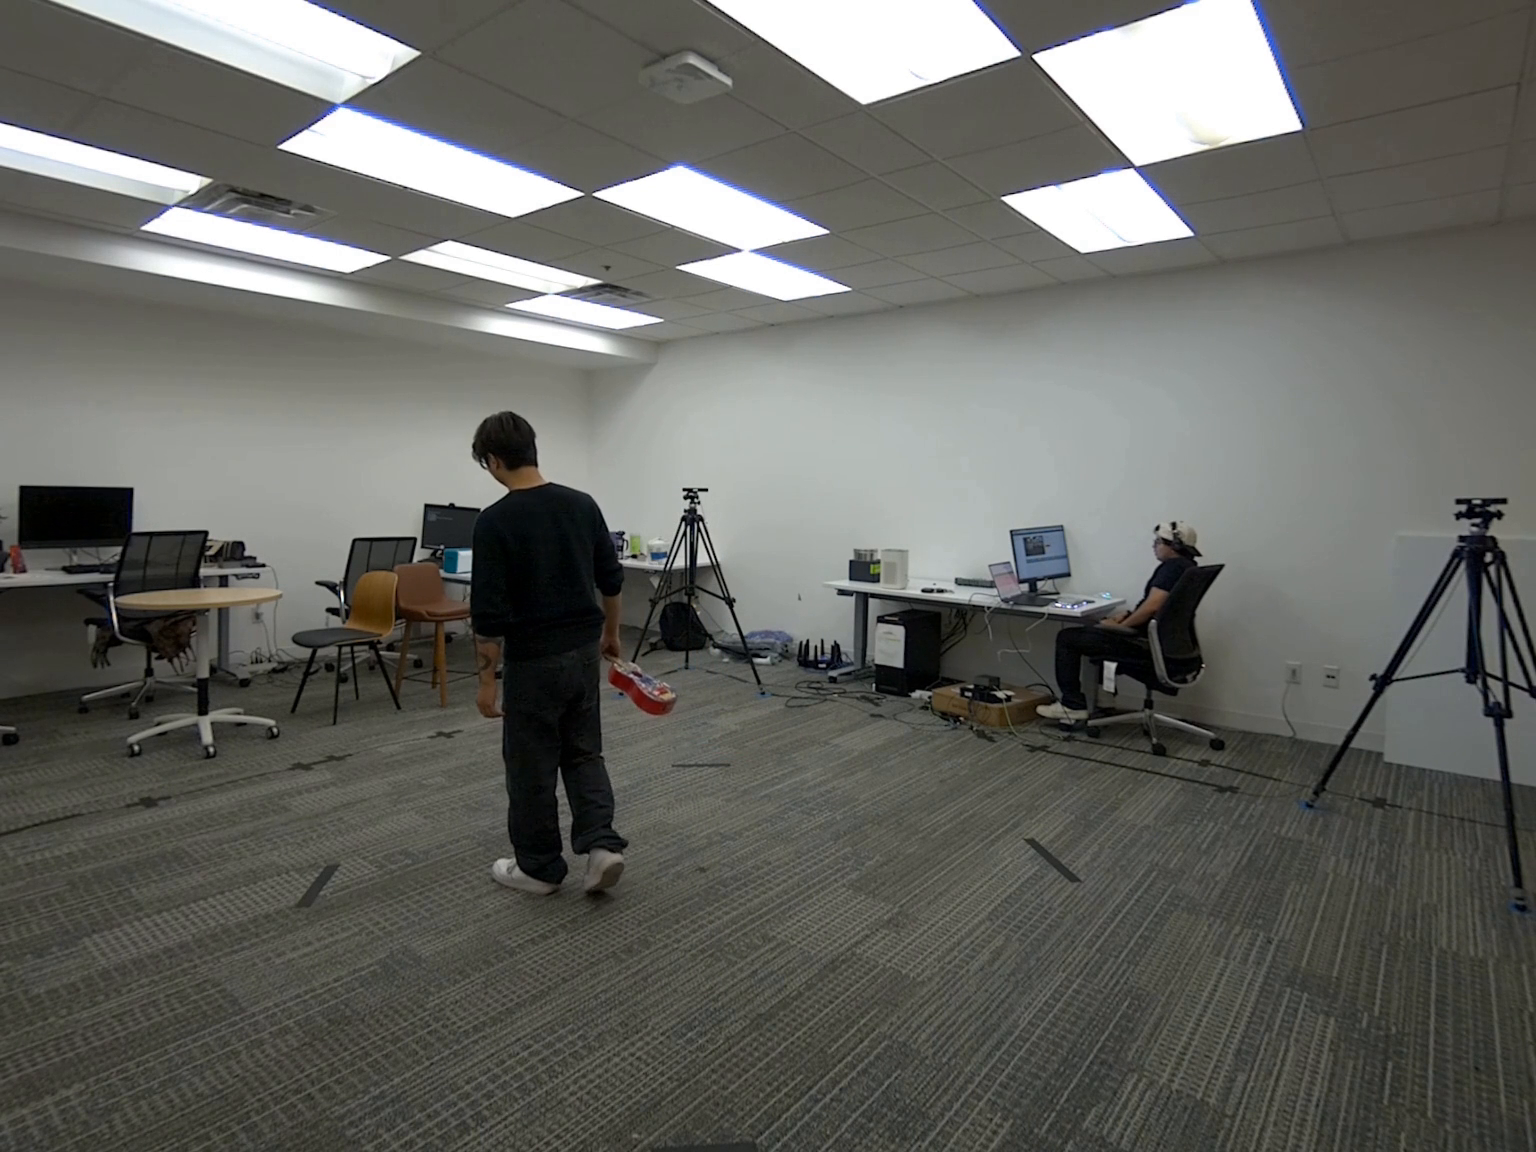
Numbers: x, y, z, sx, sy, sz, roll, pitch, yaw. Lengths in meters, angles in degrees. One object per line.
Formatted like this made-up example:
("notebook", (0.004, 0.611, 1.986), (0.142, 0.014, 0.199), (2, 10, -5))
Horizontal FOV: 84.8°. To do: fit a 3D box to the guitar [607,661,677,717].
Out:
("guitar", (-0.550, 0.350, 3.217), (0.516, 0.070, 0.187), (33, 14, 28))
